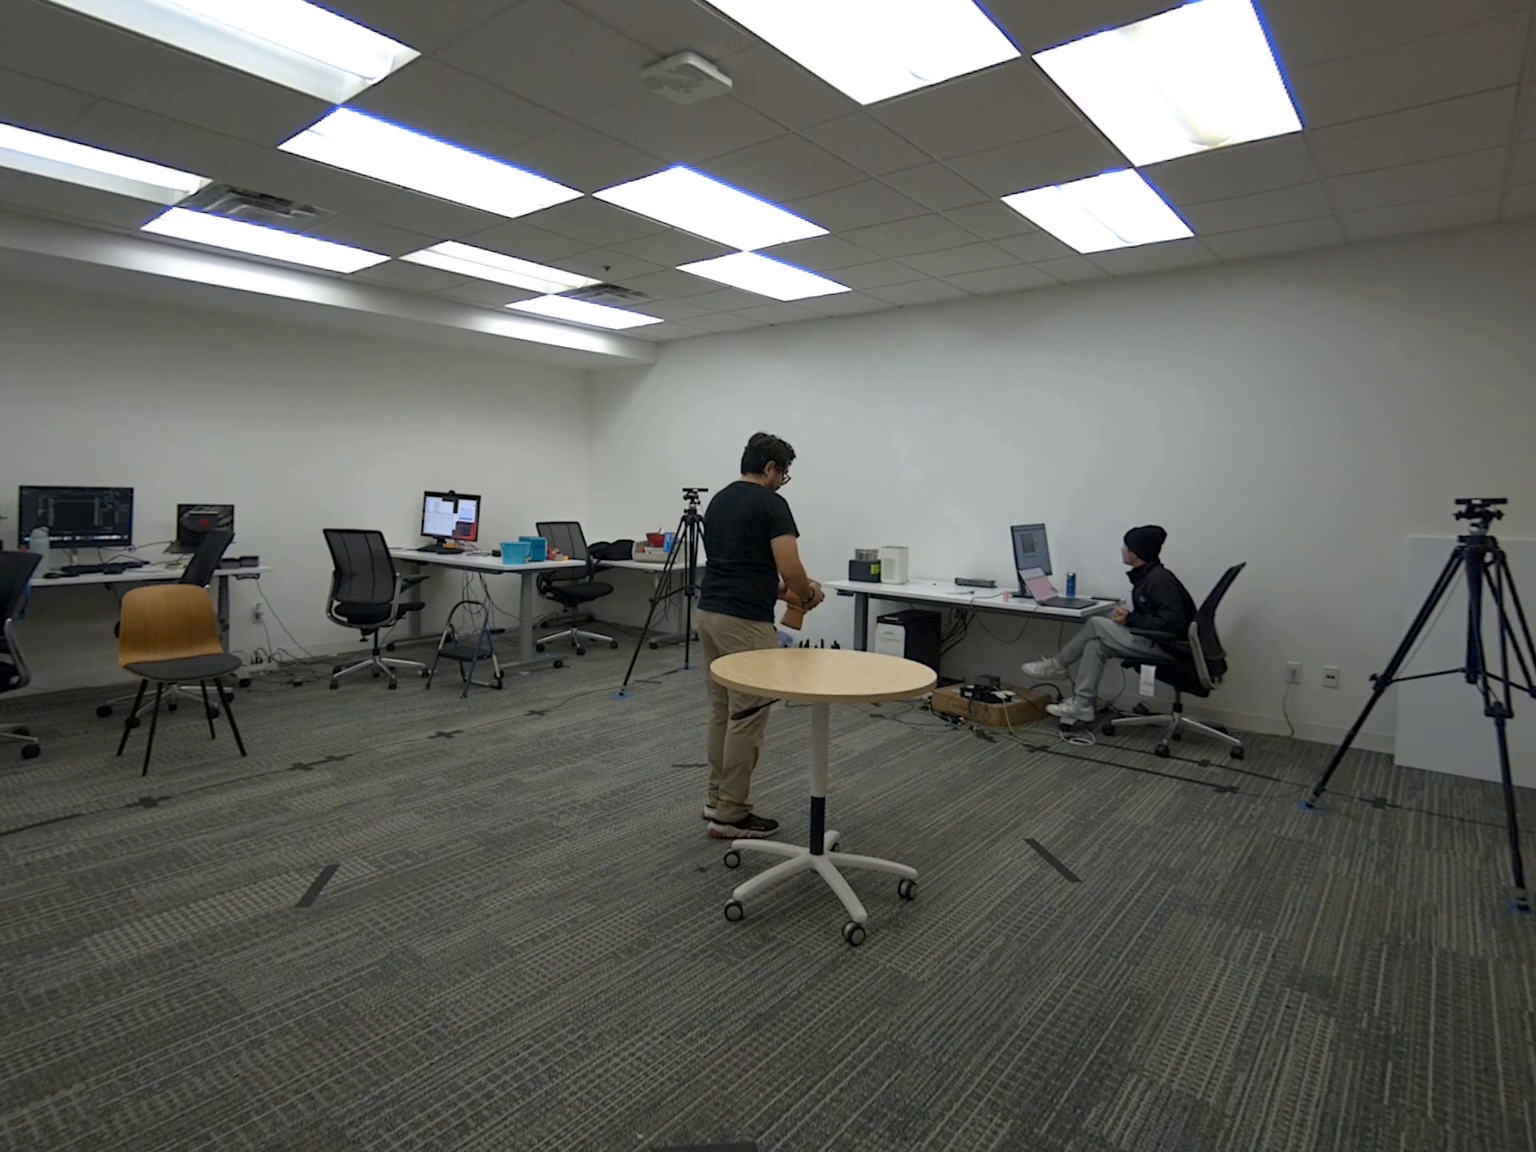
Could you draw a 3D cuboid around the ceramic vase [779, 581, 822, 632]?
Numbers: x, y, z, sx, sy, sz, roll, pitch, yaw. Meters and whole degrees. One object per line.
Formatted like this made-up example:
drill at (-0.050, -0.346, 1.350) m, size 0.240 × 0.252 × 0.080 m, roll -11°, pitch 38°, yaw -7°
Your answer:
ceramic vase at (0.126, 0.119, 3.726) m, size 0.133 × 0.221 × 0.160 m, roll 21°, pitch -8°, yaw -8°
